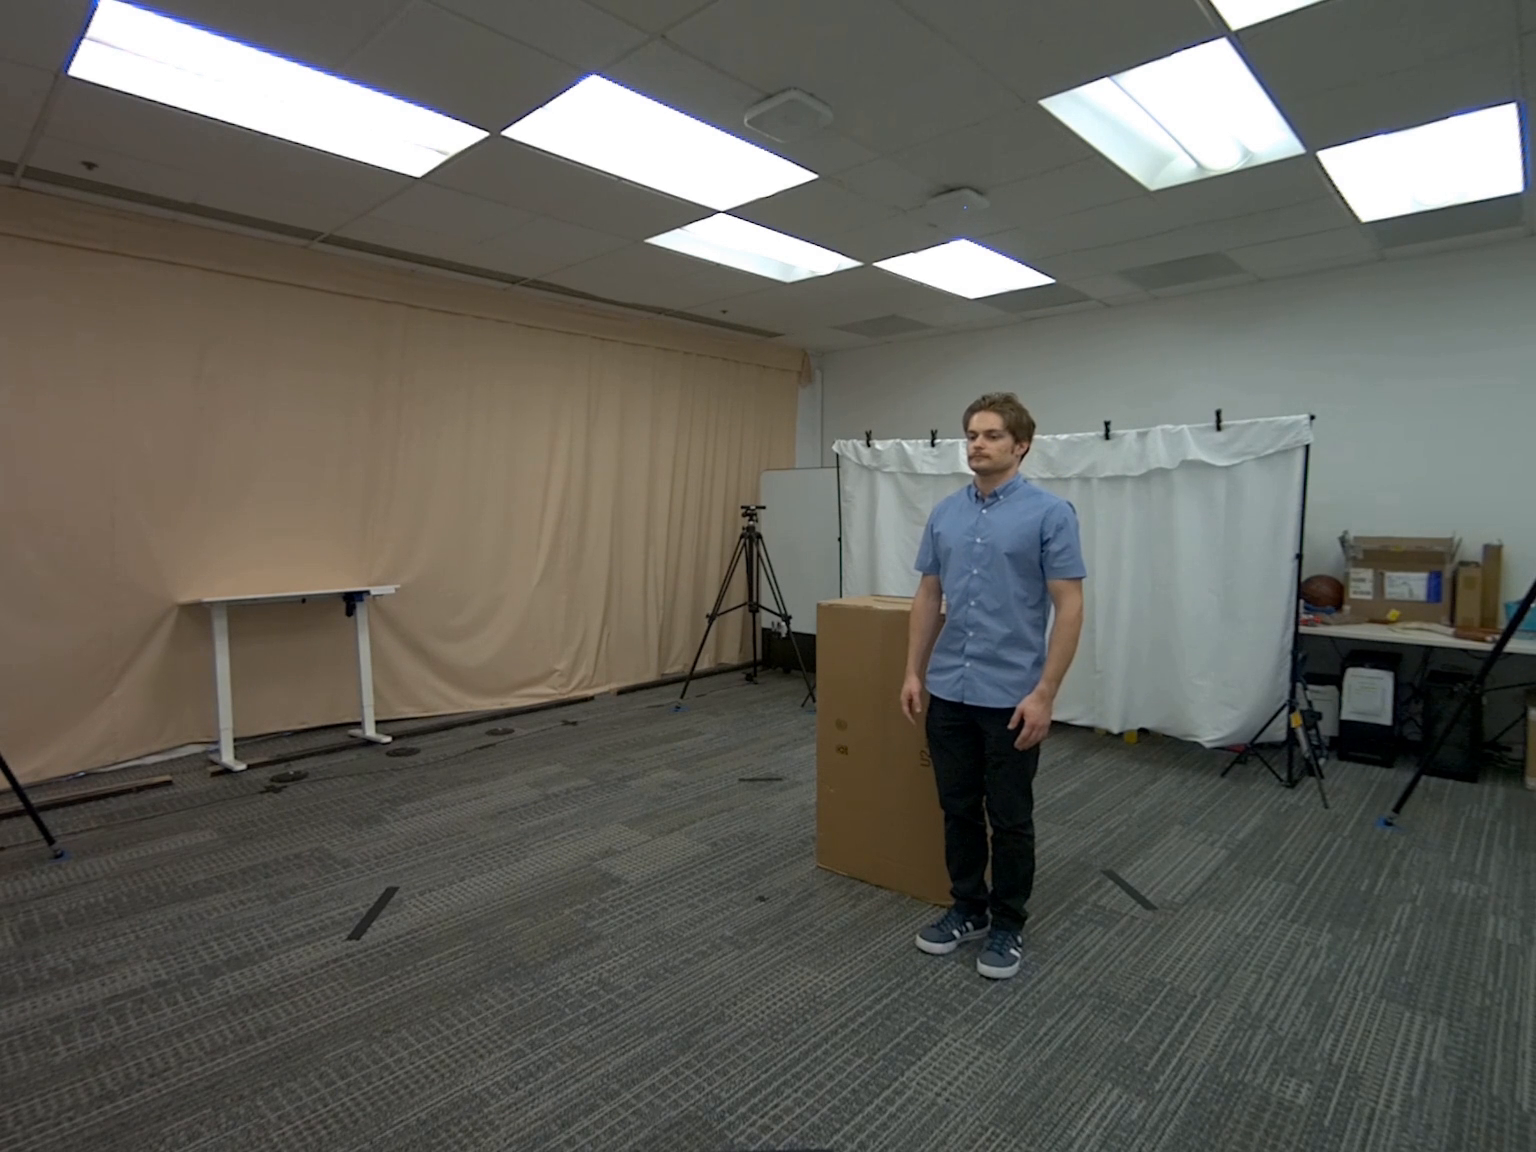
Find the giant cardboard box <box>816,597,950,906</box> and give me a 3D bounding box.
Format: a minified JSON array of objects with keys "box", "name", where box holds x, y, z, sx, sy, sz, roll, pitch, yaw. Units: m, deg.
[{"box":[0.539,0.615,3.213,0.596,1.024,0.413,2,3,38],"name":"giant cardboard box"}]
